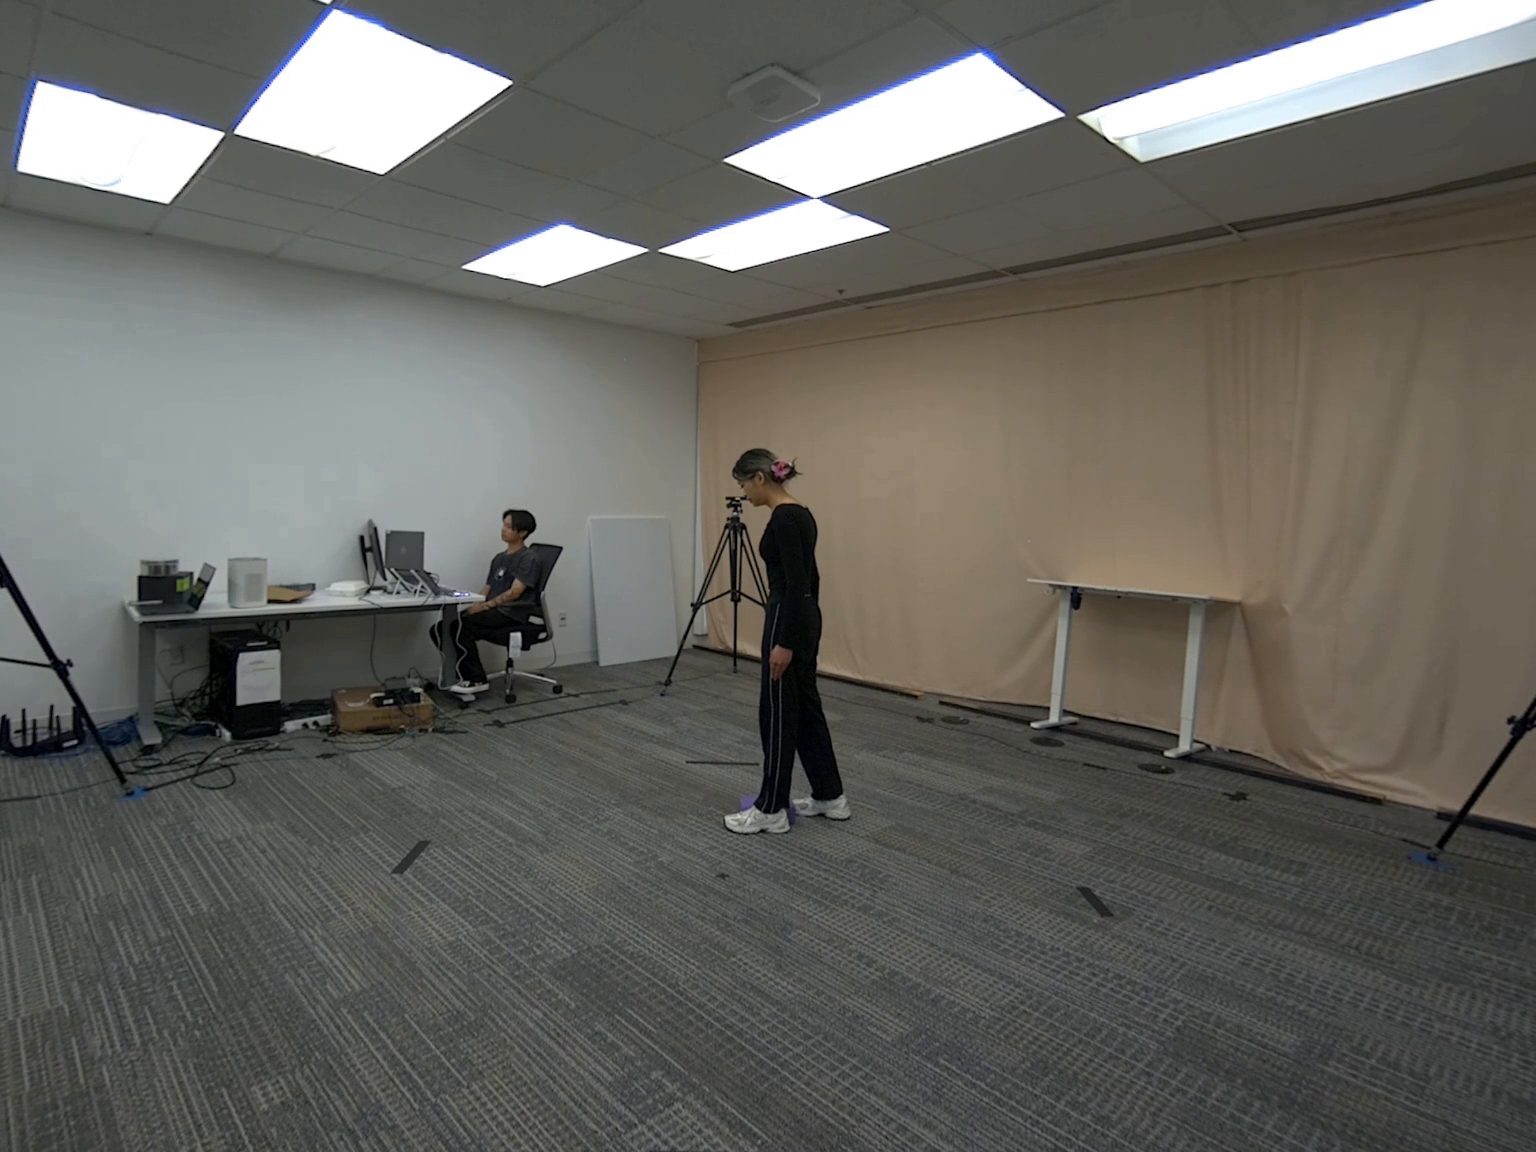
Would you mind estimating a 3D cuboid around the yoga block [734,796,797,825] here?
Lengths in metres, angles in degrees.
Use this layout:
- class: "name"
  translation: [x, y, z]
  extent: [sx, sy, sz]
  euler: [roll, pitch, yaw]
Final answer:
- class: "yoga block"
  translation: [-0.008, 1.021, 3.676]
  extent: [0.228, 0.076, 0.150]
  euler: [2, 3, -6]
